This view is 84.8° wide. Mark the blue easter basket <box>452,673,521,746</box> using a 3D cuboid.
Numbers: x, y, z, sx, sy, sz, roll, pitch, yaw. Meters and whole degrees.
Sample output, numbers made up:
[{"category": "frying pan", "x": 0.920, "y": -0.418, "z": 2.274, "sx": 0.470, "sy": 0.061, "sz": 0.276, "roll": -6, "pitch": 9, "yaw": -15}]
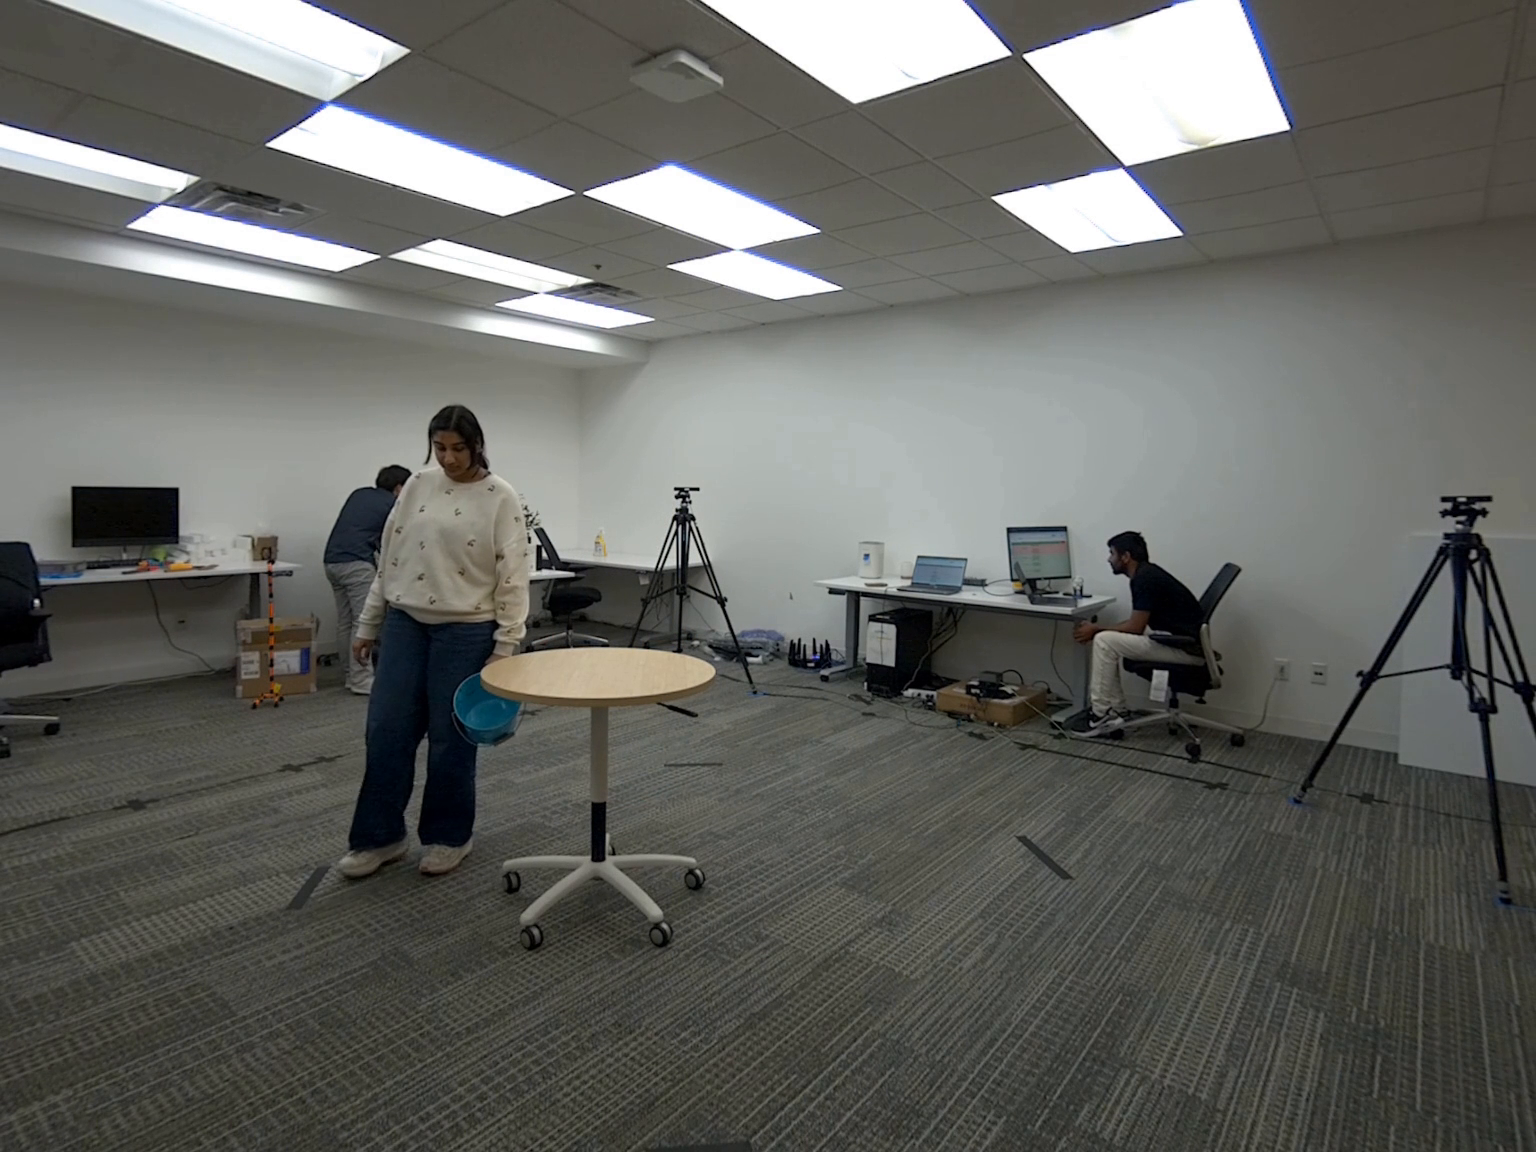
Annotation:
[{"category": "blue easter basket", "x": -1.010, "y": 0.487, "z": 3.013, "sx": 0.243, "sy": 0.251, "sz": 0.152, "roll": 1, "pitch": -42, "yaw": -3}]
